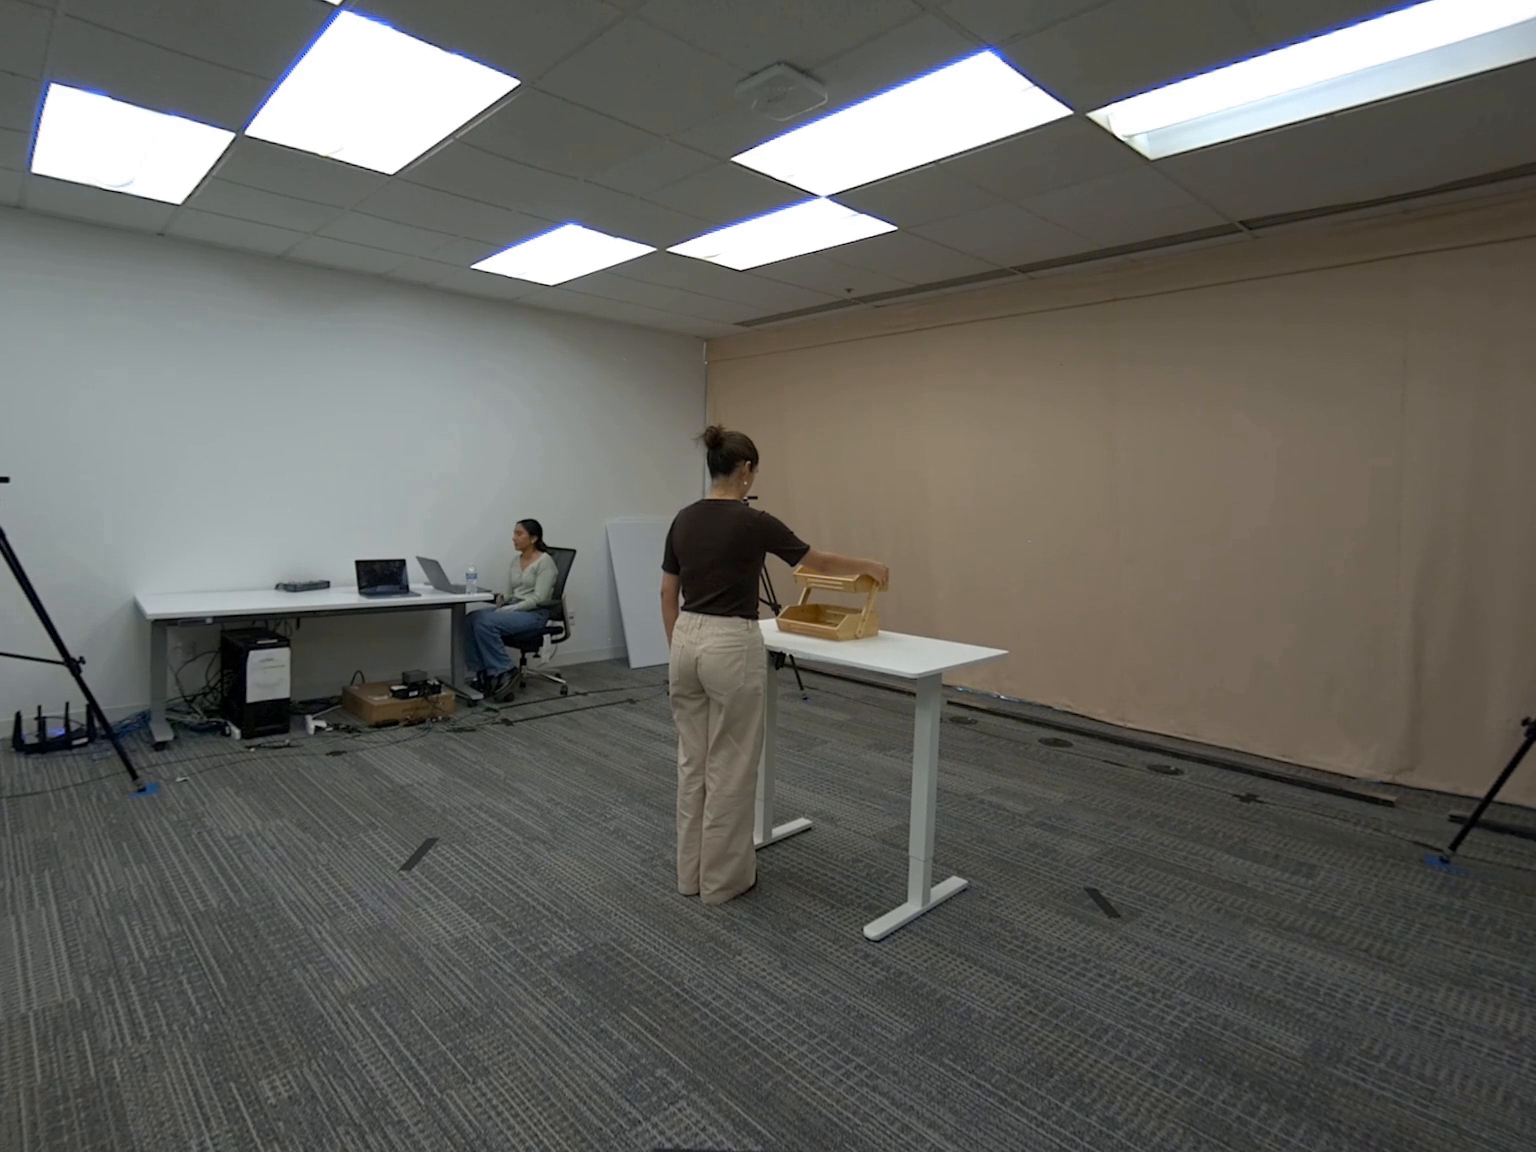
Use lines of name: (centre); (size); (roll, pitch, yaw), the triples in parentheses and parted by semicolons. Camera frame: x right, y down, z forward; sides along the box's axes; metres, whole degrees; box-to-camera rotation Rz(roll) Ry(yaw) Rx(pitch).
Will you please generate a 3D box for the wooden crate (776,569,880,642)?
wooden crate: (0.237, 0.087, 3.218); (0.333, 0.273, 0.295); (6, 5, 45)
